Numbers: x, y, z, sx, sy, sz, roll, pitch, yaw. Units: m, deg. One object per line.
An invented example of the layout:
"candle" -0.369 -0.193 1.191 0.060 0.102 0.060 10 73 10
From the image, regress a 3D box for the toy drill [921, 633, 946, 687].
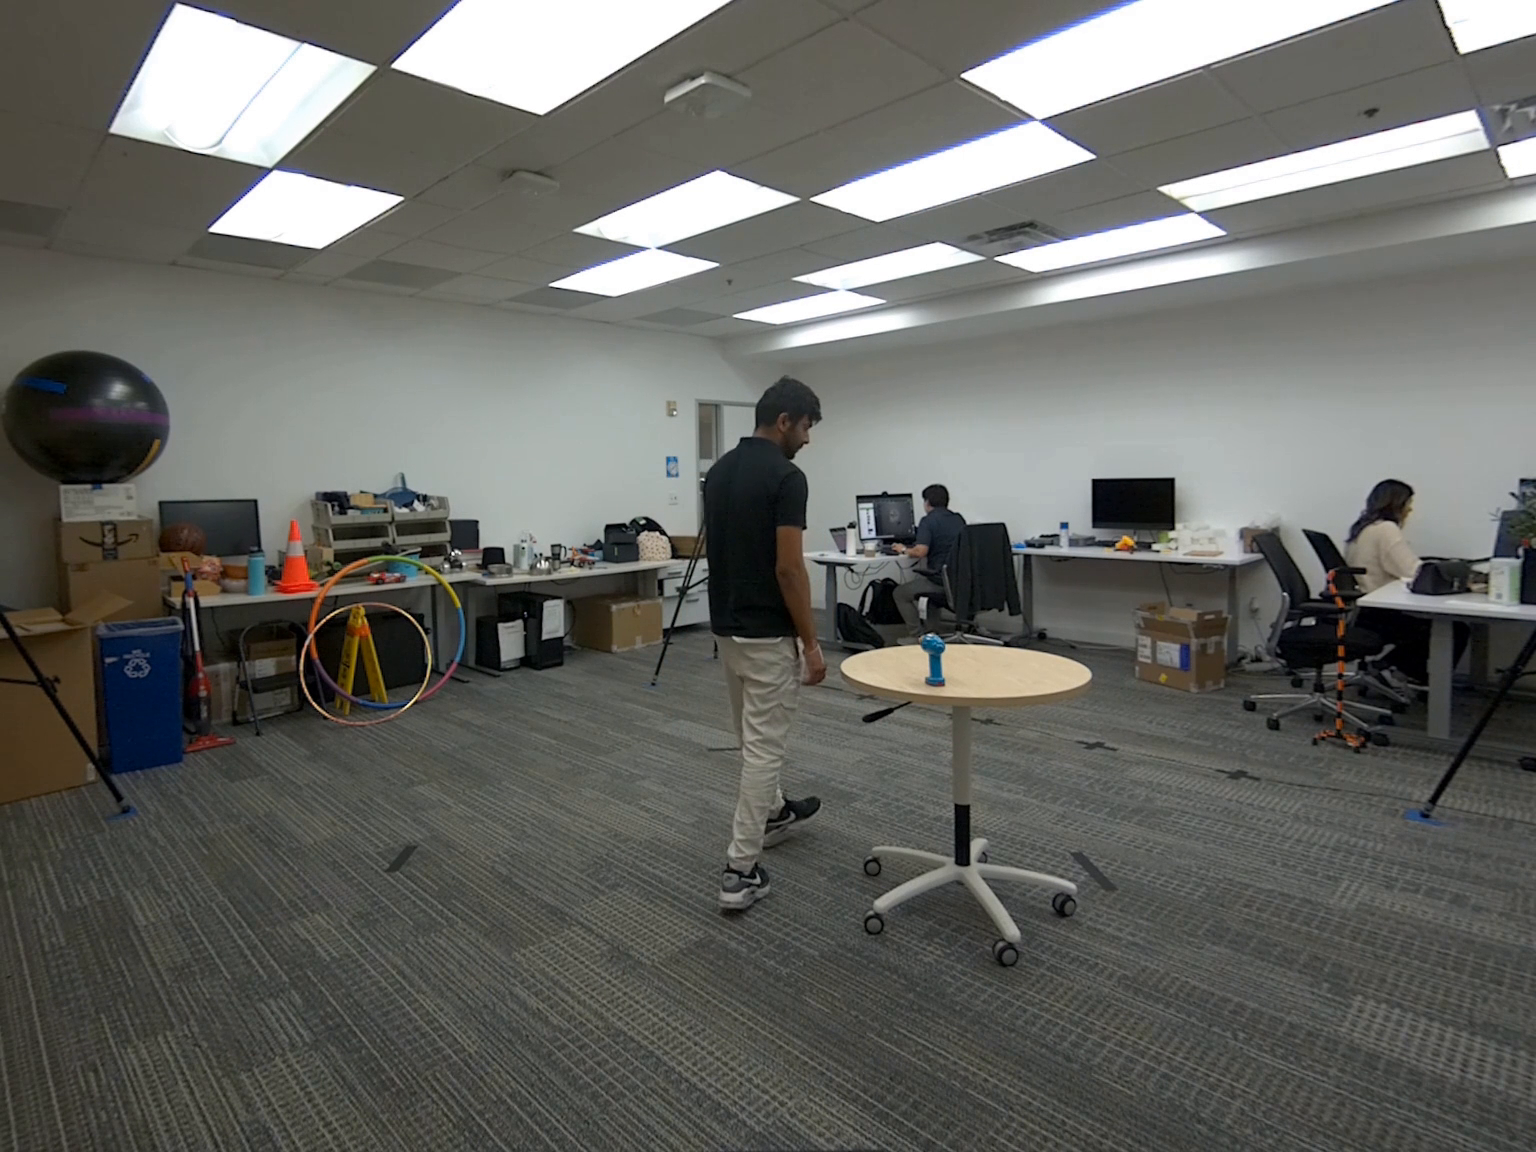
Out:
"toy drill" 0.491 0.240 2.554 0.061 0.145 0.172 -4 5 -9
